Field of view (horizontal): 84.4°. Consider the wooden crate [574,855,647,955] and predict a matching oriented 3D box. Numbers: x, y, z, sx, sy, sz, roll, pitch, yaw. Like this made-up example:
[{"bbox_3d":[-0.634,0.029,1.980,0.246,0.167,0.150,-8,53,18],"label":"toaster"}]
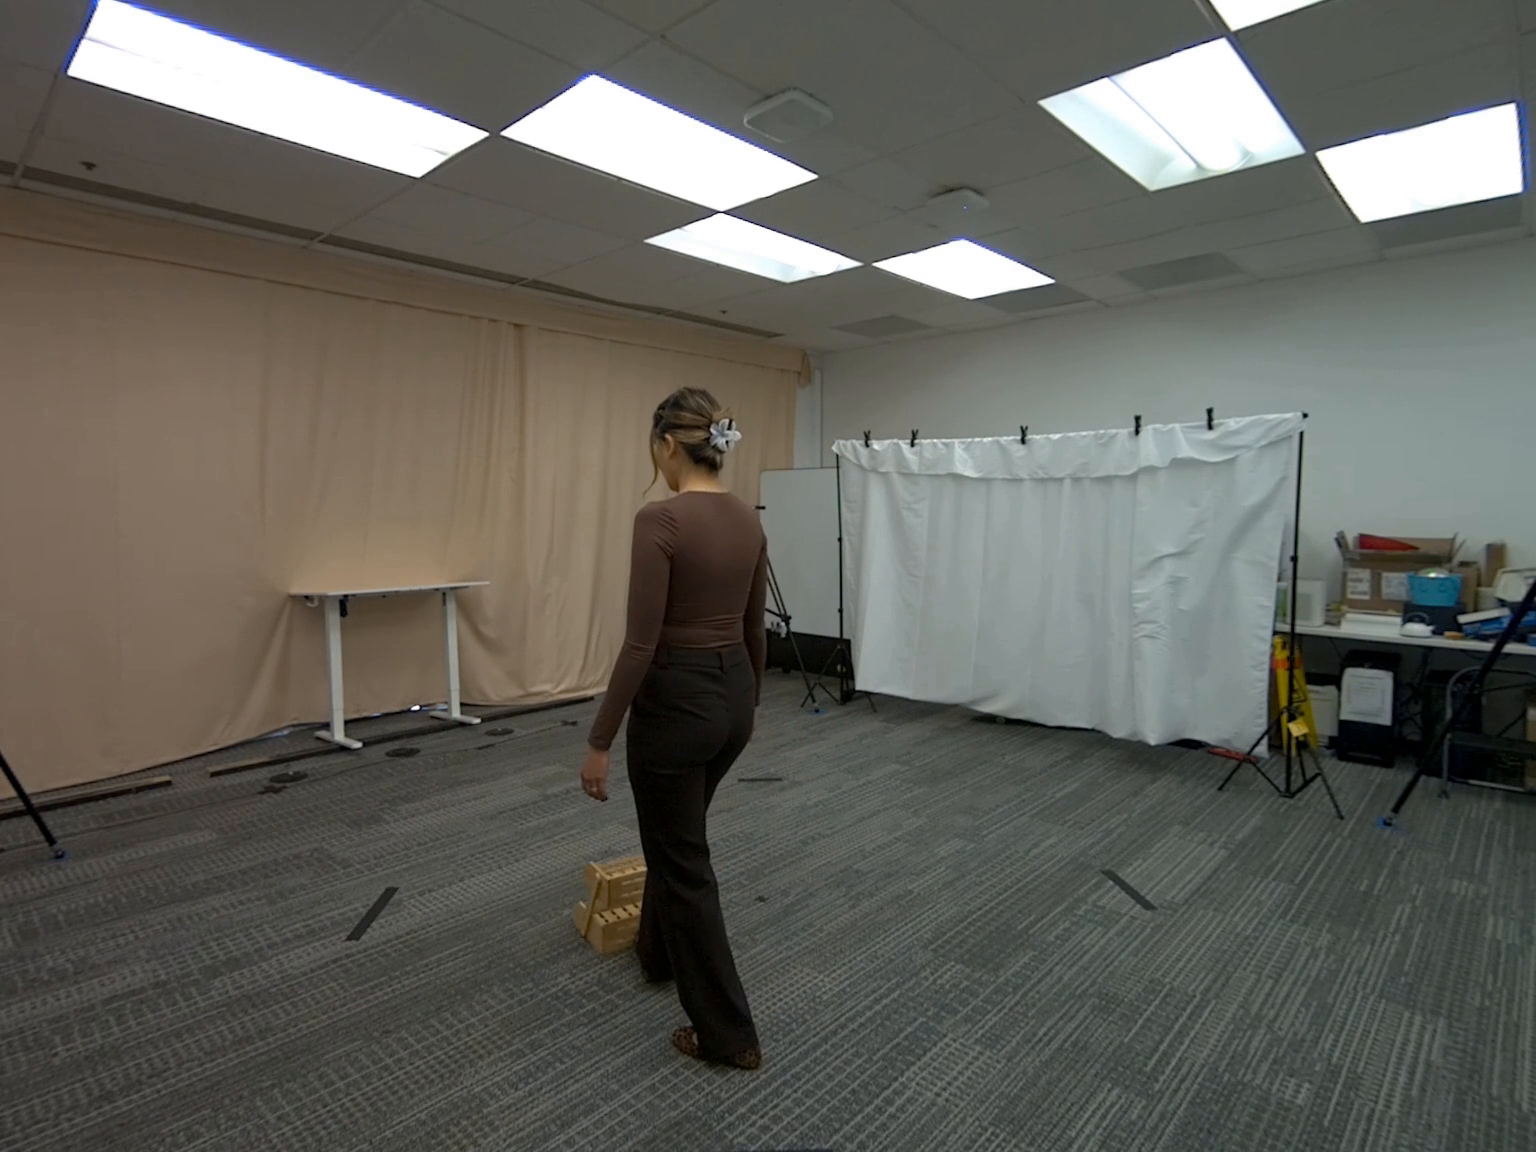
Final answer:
[{"bbox_3d":[-0.450,1.032,2.766,0.315,0.272,0.311,-3,5,-33],"label":"wooden crate"}]
